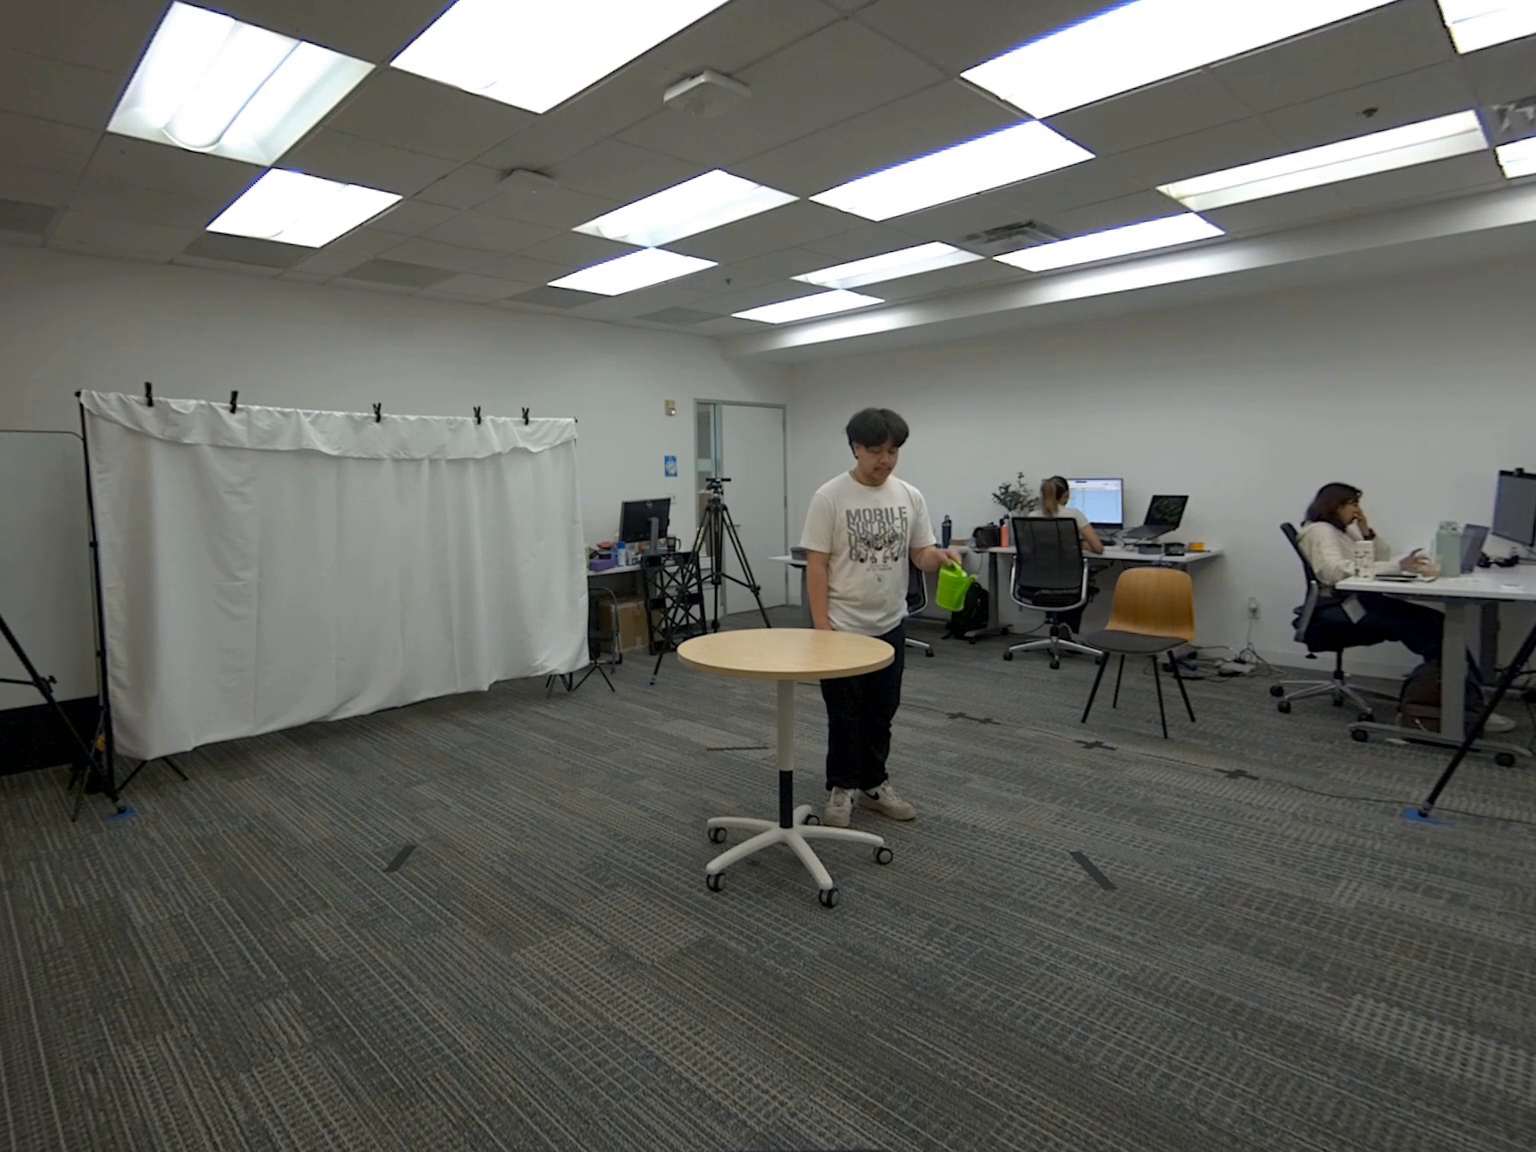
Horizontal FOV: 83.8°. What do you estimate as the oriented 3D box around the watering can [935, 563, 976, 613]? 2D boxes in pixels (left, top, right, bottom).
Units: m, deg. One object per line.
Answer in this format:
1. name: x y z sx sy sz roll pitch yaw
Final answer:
1. watering can: 0.679 0.046 3.137 0.098 0.174 0.280 2 16 4
